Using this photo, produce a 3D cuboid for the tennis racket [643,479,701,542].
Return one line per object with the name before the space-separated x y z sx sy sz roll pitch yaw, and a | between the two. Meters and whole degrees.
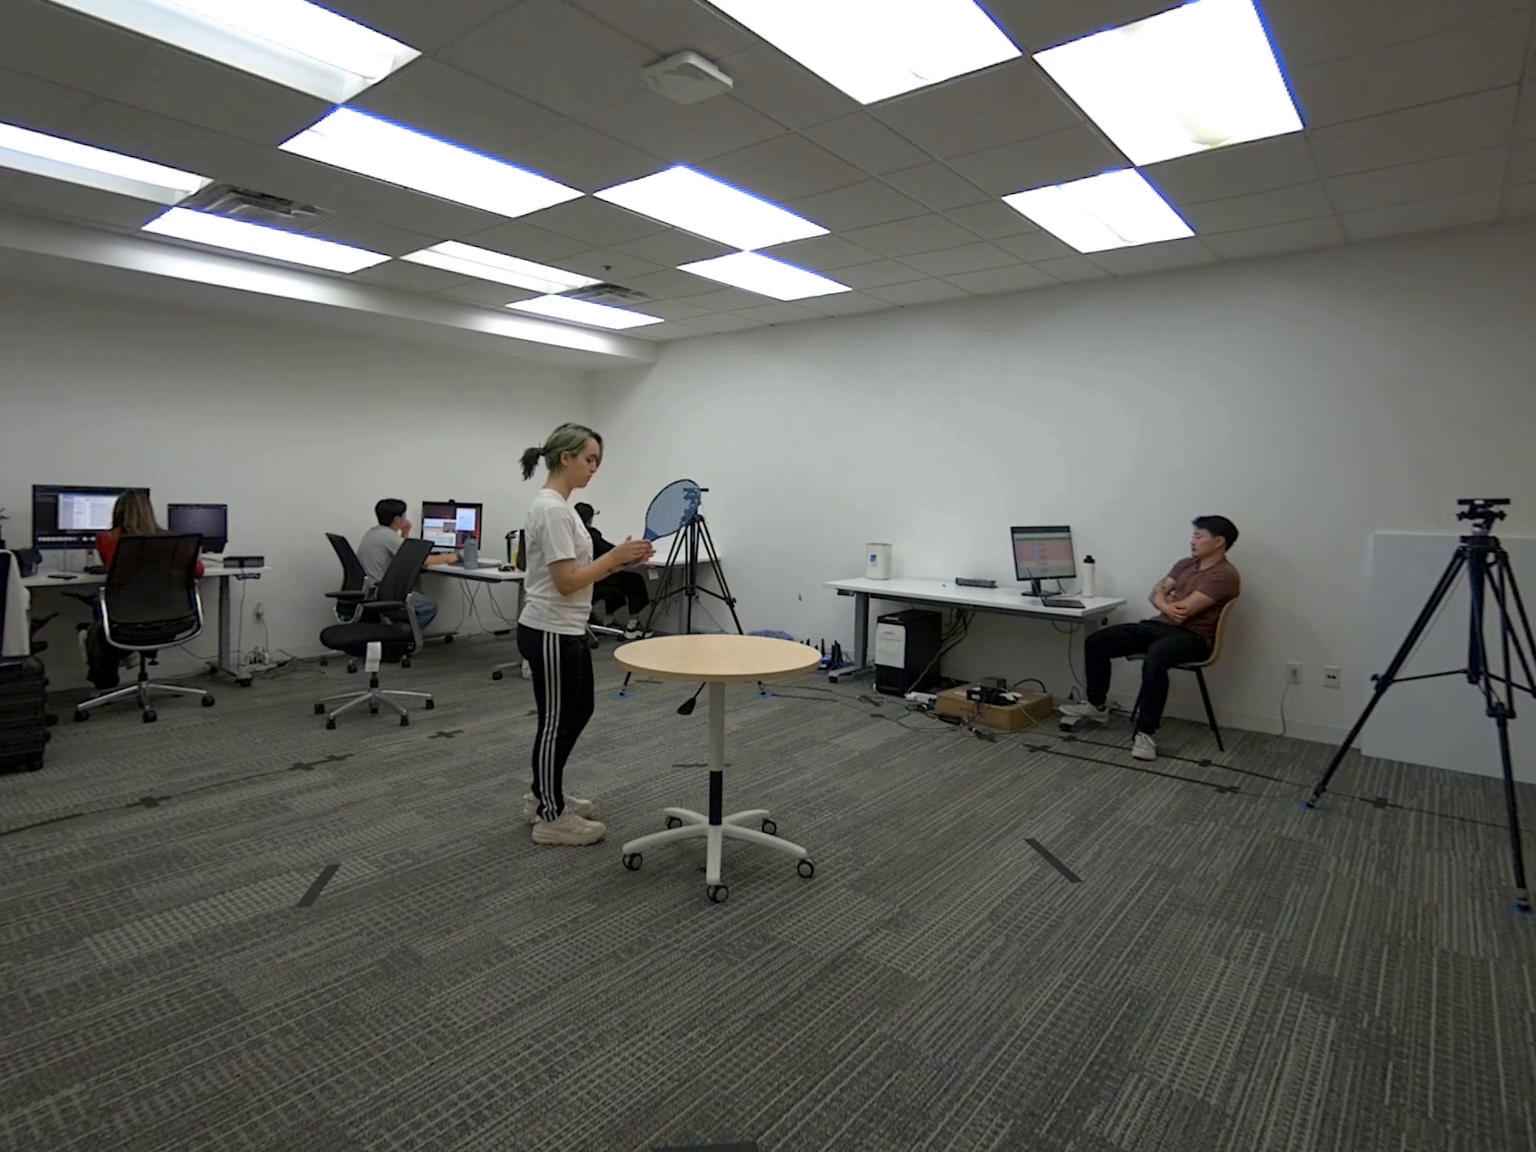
tennis racket | -0.444 -0.203 3.324 0.222 0.433 0.030 44 -3 33
